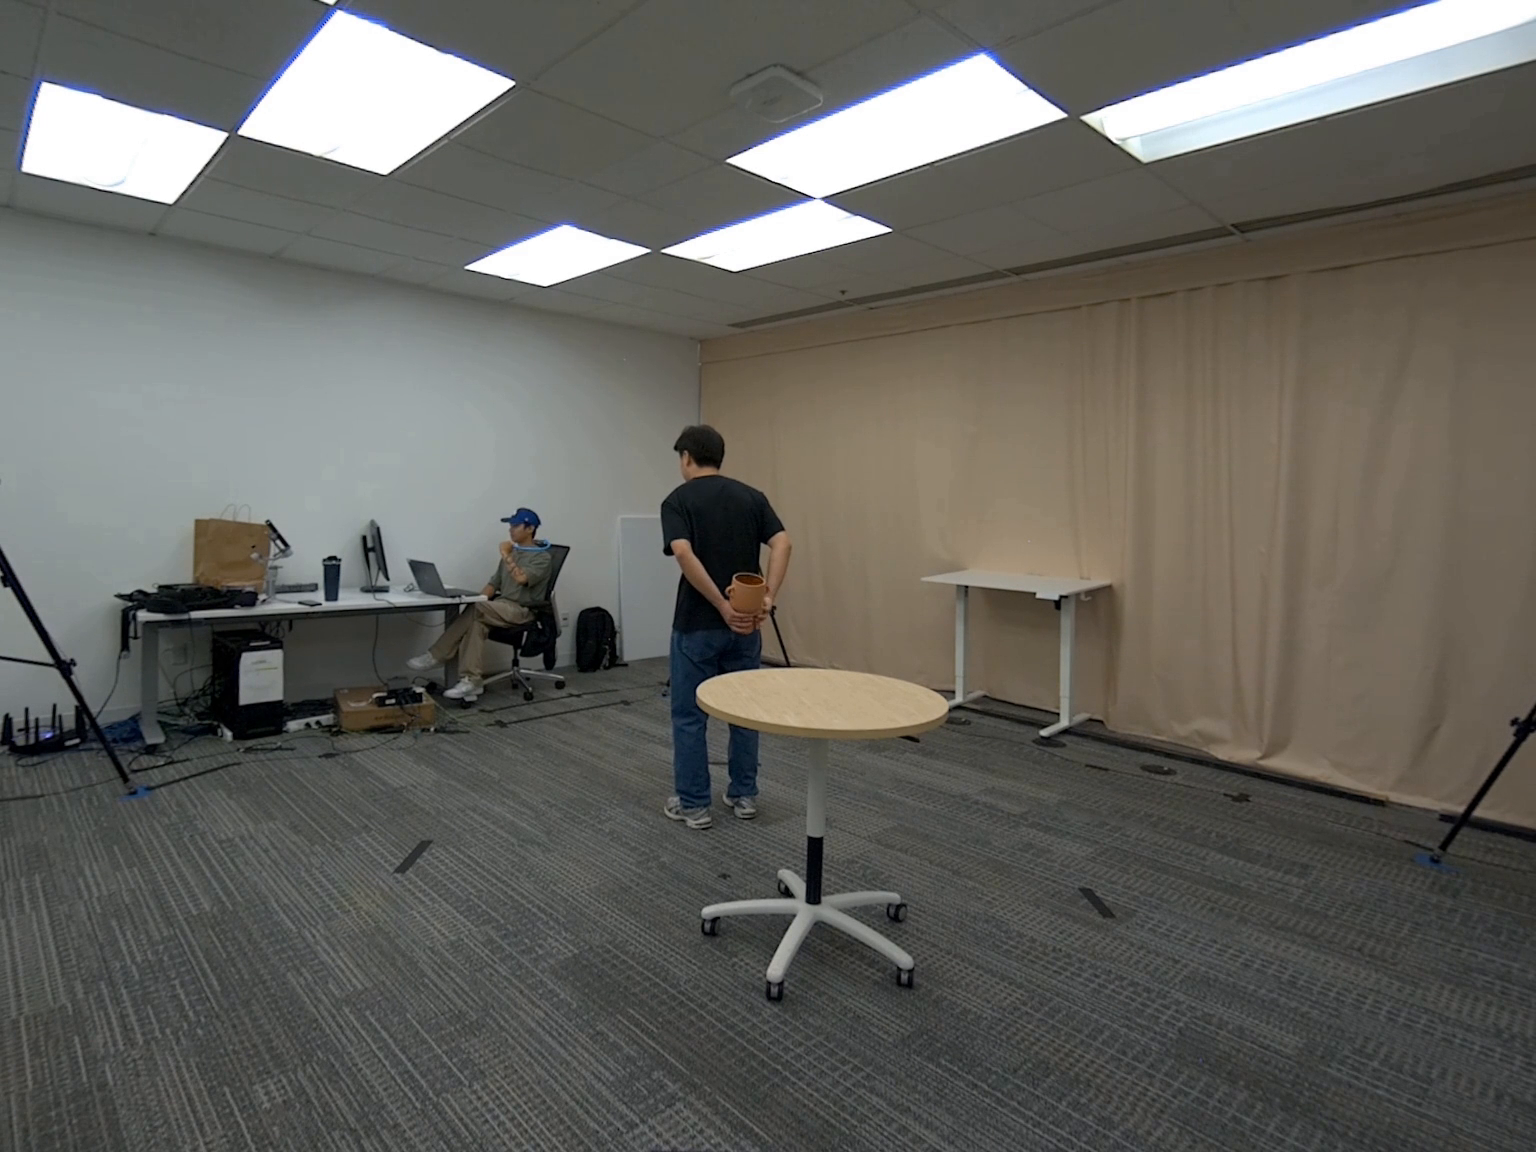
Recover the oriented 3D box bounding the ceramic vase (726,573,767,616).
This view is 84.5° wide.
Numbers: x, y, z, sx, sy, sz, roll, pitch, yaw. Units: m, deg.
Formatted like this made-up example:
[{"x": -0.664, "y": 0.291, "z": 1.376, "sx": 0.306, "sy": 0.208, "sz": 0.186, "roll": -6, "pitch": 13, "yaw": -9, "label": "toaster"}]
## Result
[{"x": -0.113, "y": 0.111, "z": 3.409, "sx": 0.160, "sy": 0.217, "sz": 0.135, "roll": 12, "pitch": 19, "yaw": 8, "label": "ceramic vase"}]
